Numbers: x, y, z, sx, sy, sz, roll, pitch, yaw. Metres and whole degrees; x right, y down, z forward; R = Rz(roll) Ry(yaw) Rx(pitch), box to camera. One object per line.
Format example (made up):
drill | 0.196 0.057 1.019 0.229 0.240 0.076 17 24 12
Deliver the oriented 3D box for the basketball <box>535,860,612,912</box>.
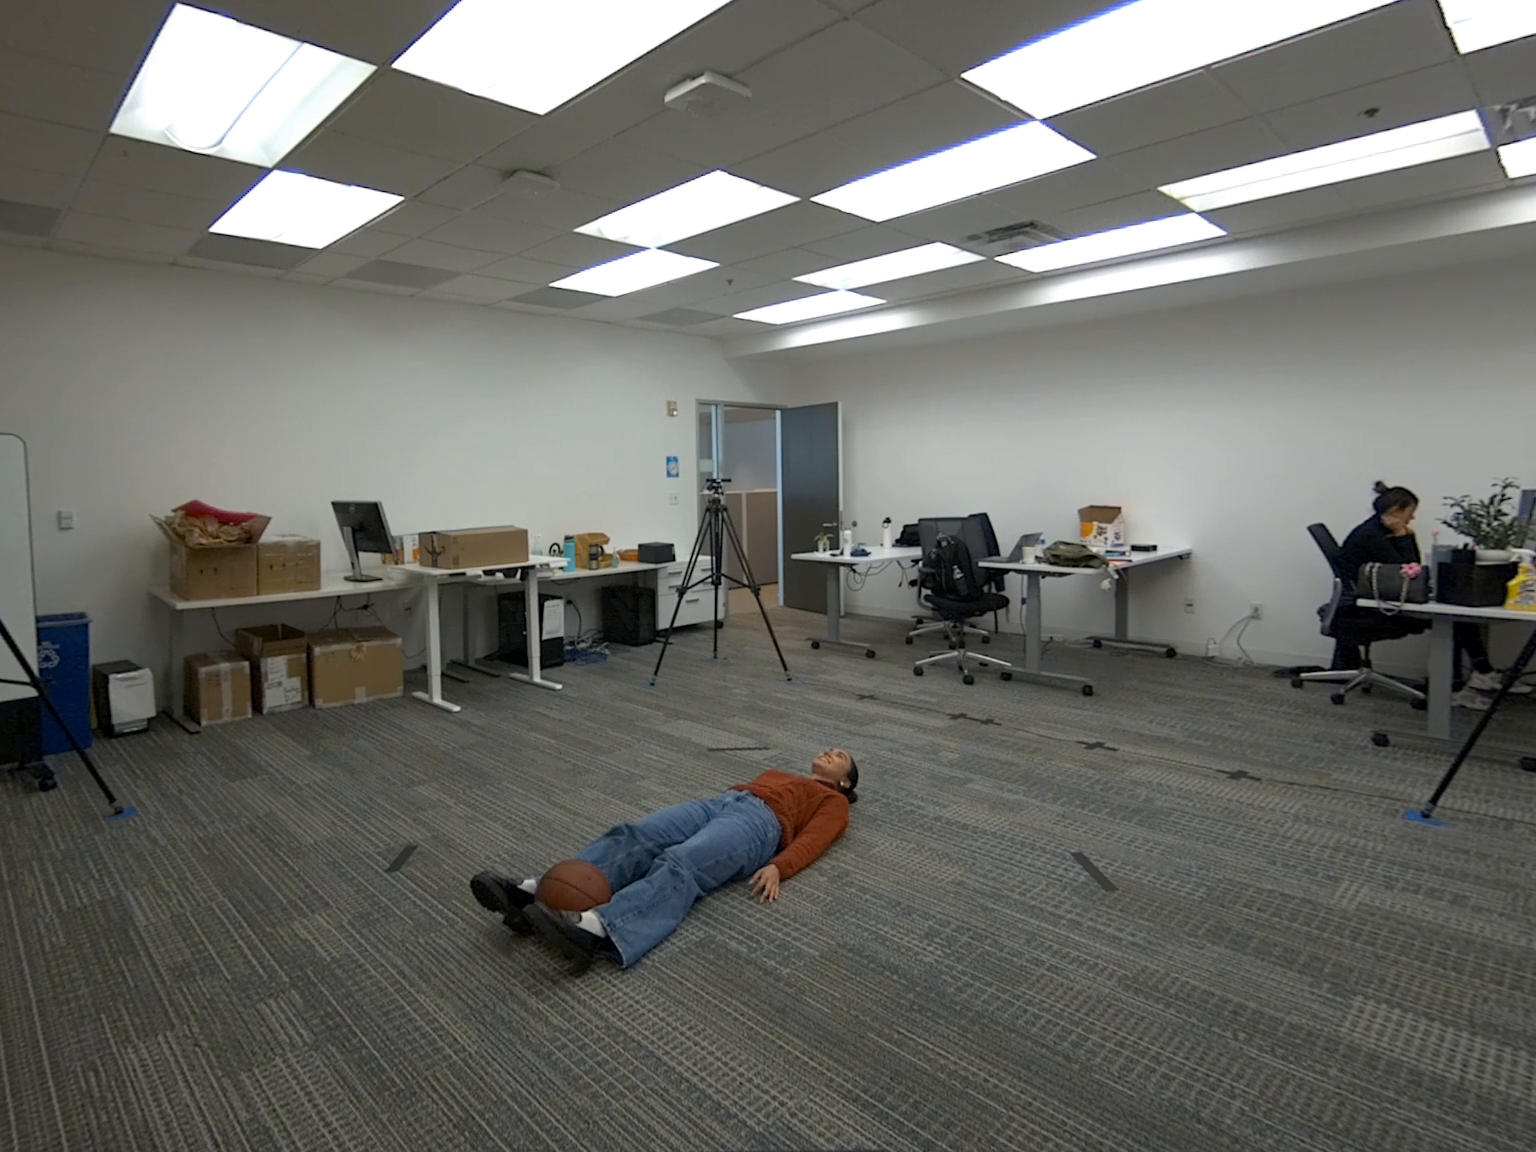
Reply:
basketball | -0.598 1.001 2.621 0.236 0.235 0.237 -1 5 -2
